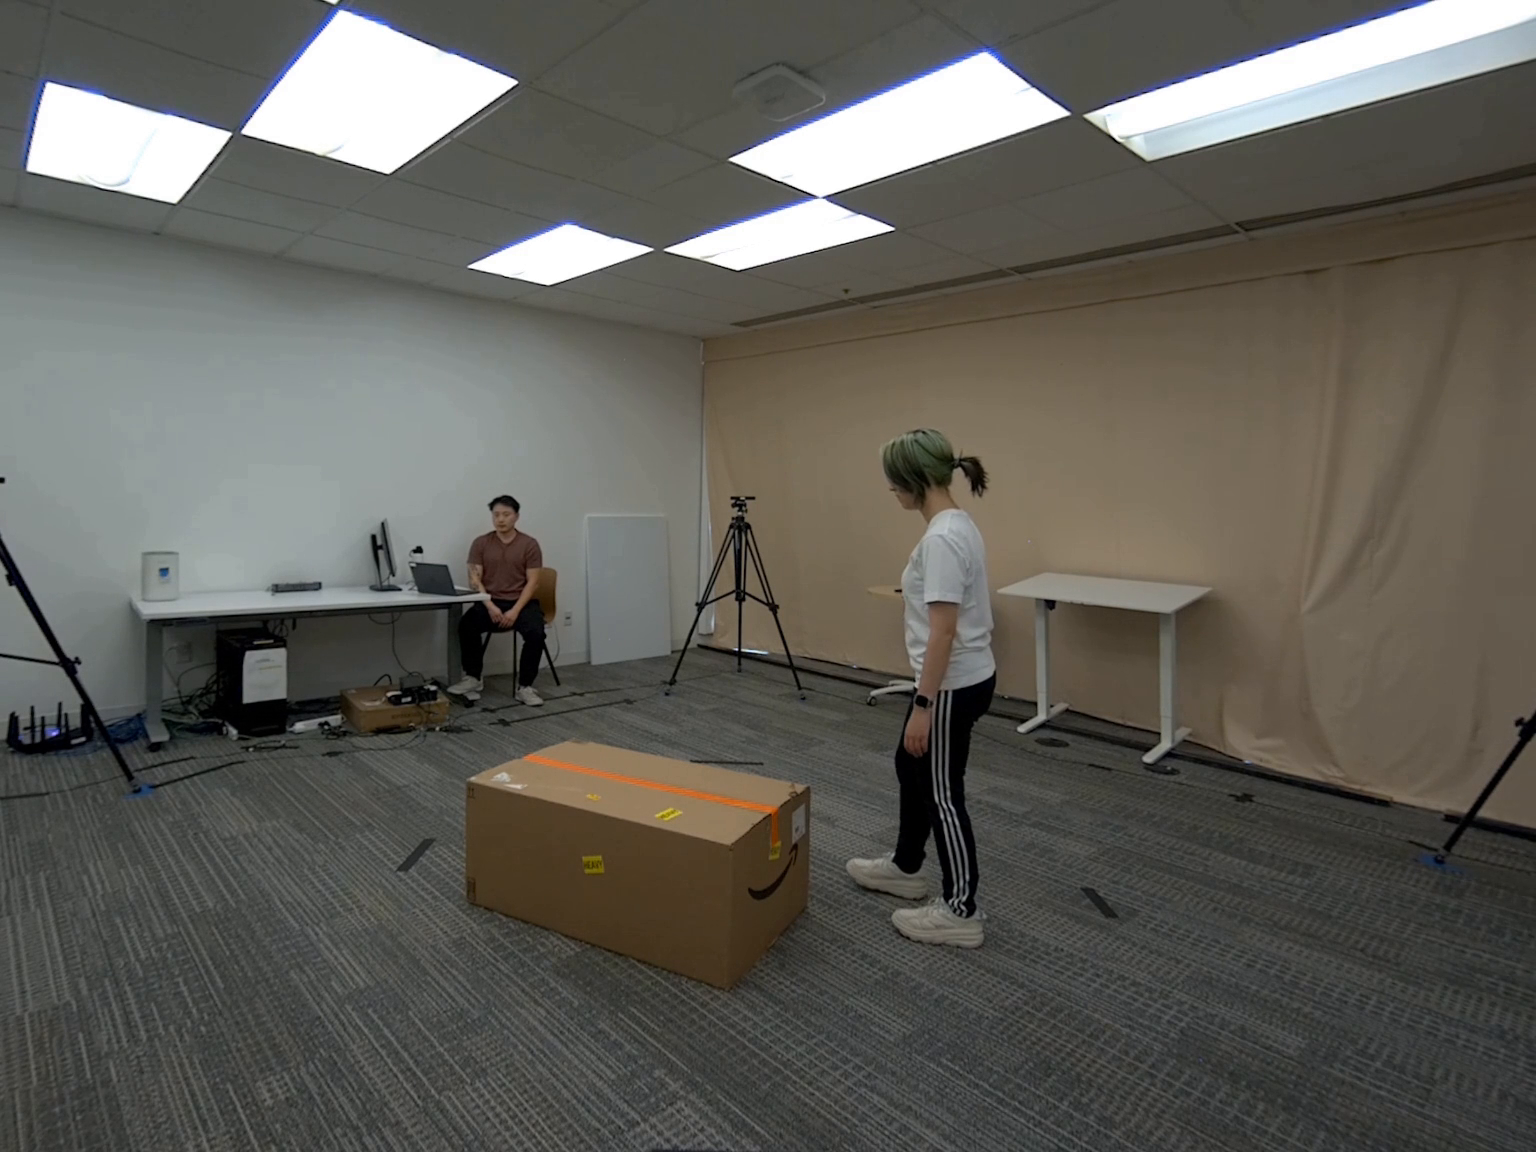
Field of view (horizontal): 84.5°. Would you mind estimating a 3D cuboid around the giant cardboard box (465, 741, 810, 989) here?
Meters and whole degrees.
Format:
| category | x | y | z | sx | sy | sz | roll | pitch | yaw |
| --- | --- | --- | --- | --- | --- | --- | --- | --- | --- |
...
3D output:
| category | x | y | z | sx | sy | sz | roll | pitch | yaw |
| --- | --- | --- | --- | --- | --- | --- | --- | --- | --- |
| giant cardboard box | -0.443 | 0.905 | 2.851 | 1.047 | 0.425 | 0.567 | 4 | 6 | 27 |
